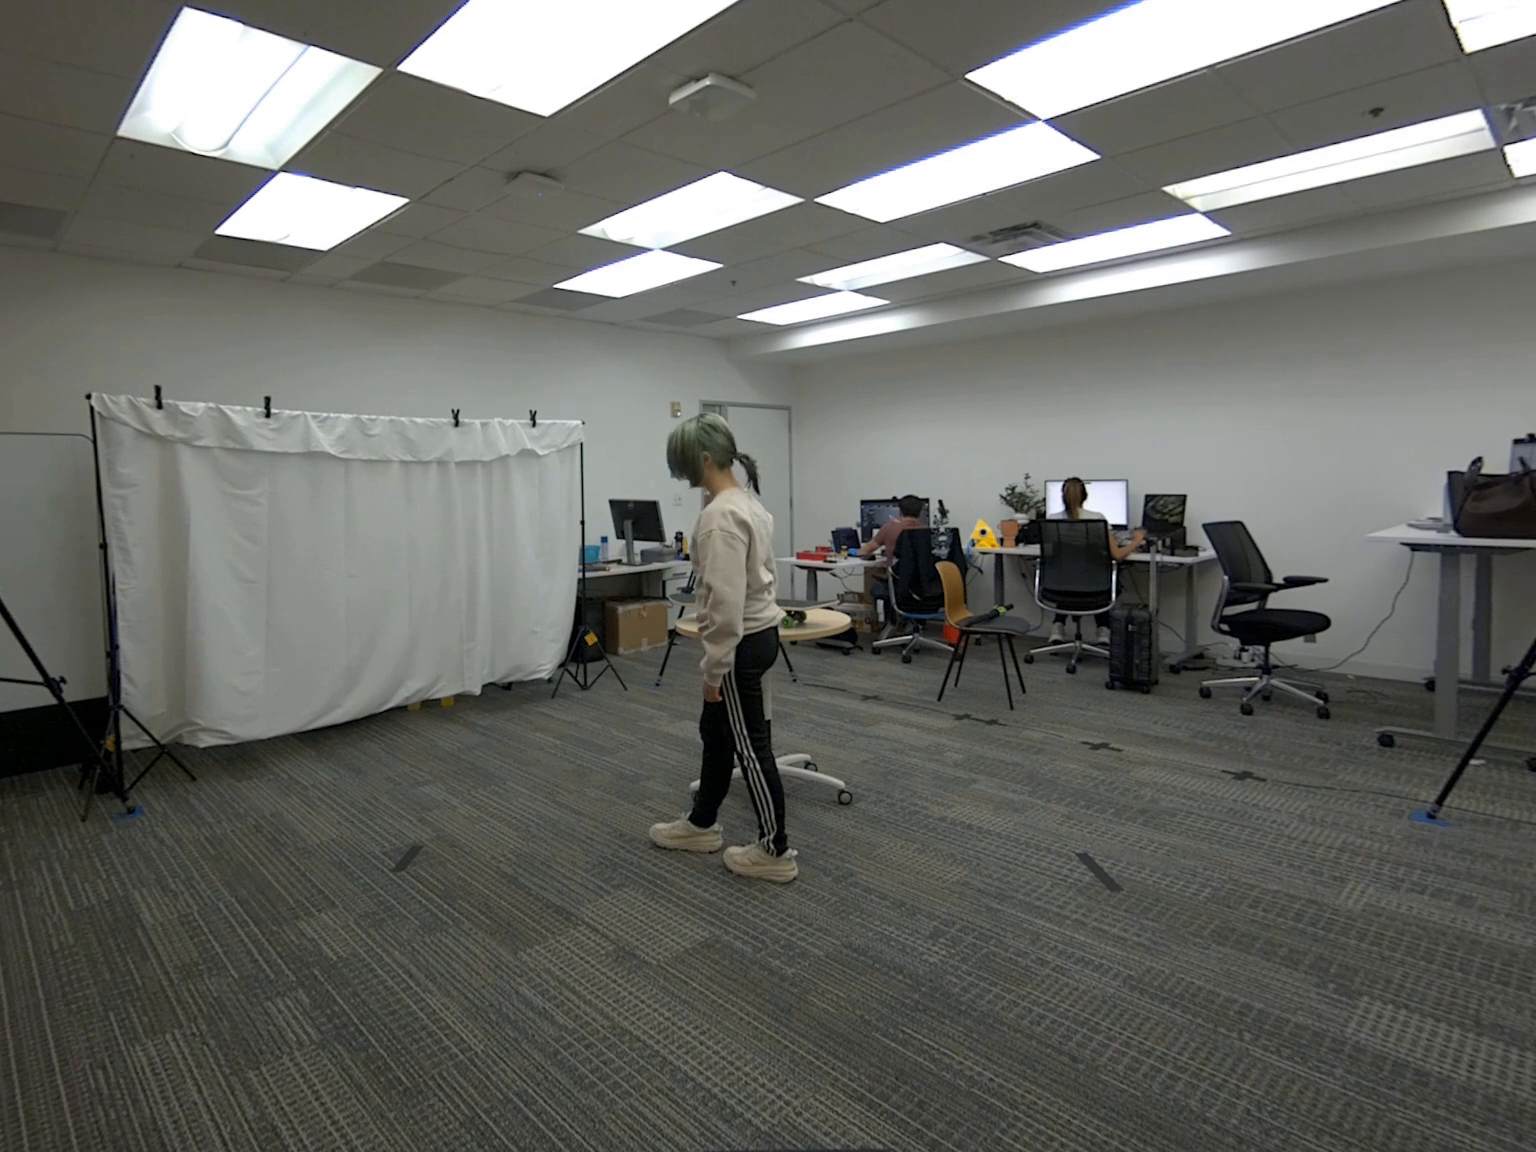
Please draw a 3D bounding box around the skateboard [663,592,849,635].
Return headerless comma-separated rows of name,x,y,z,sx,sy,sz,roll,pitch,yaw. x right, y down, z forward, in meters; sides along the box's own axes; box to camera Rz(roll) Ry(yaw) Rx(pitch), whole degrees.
skateboard,-0.064,0.151,3.677,0.804,0.110,0.190,2,8,27
